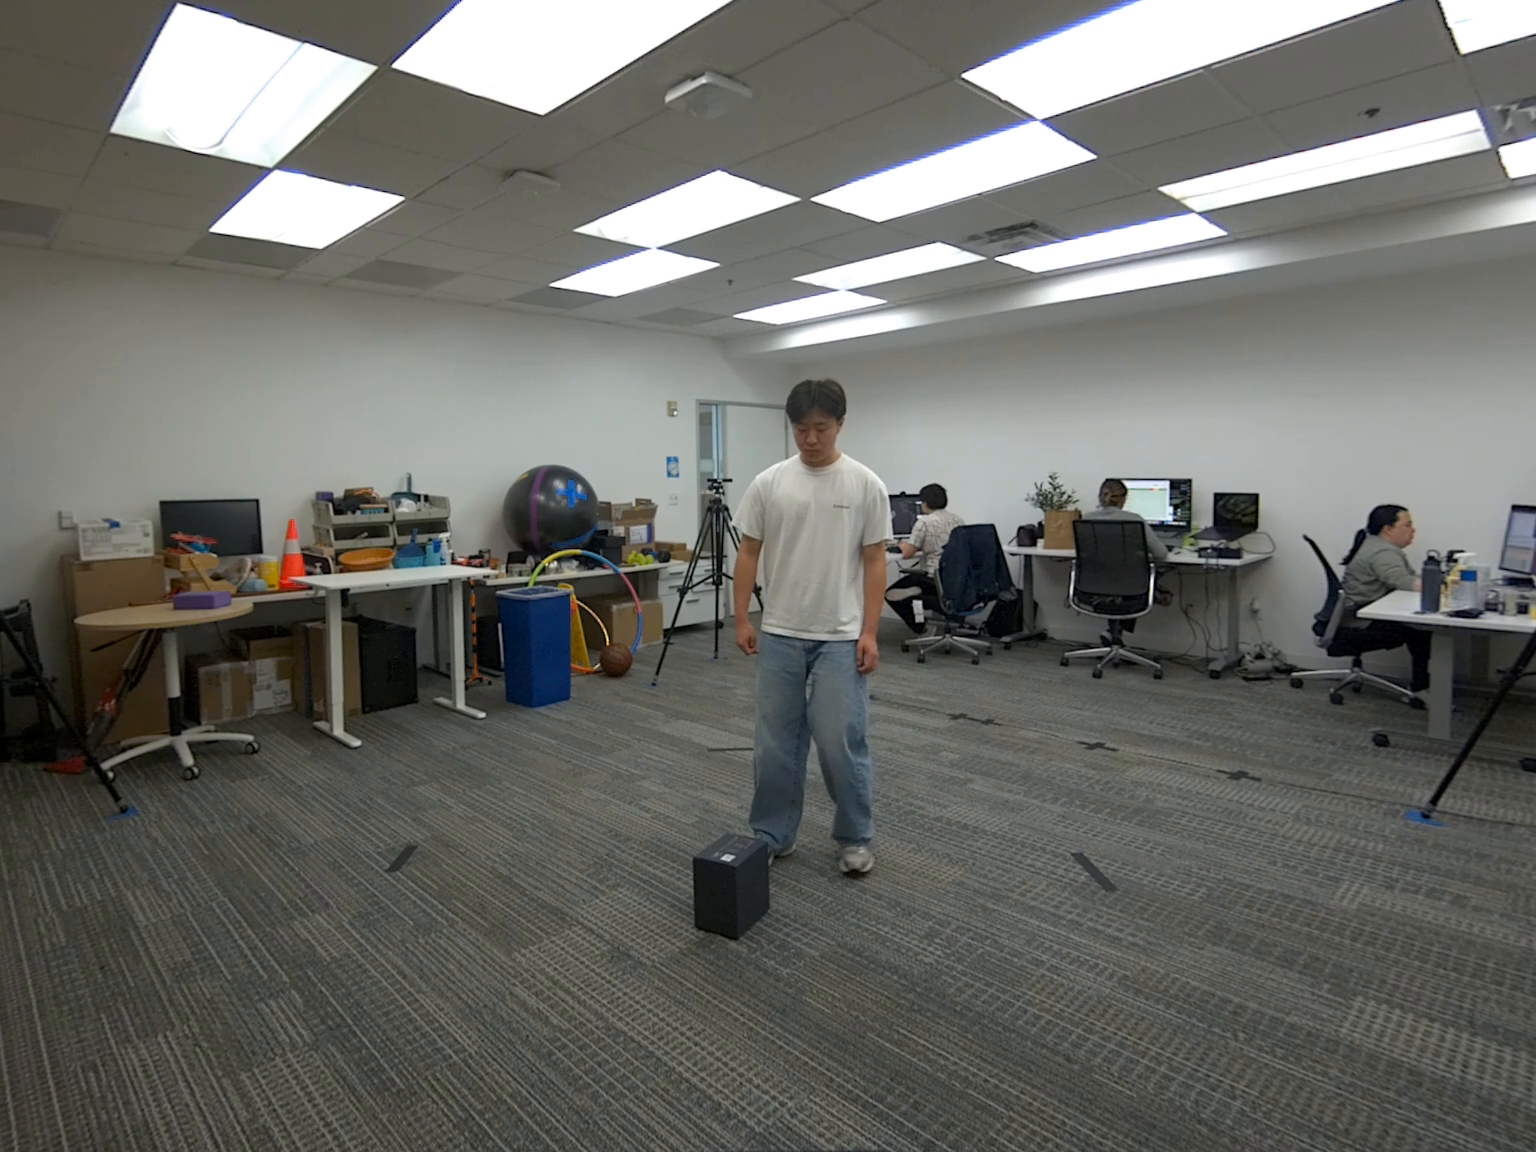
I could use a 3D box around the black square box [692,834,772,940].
[{"bbox_3d":[-0.110,0.969,2.710,0.160,0.227,0.212,0,5,28],"label":"black square box"}]
